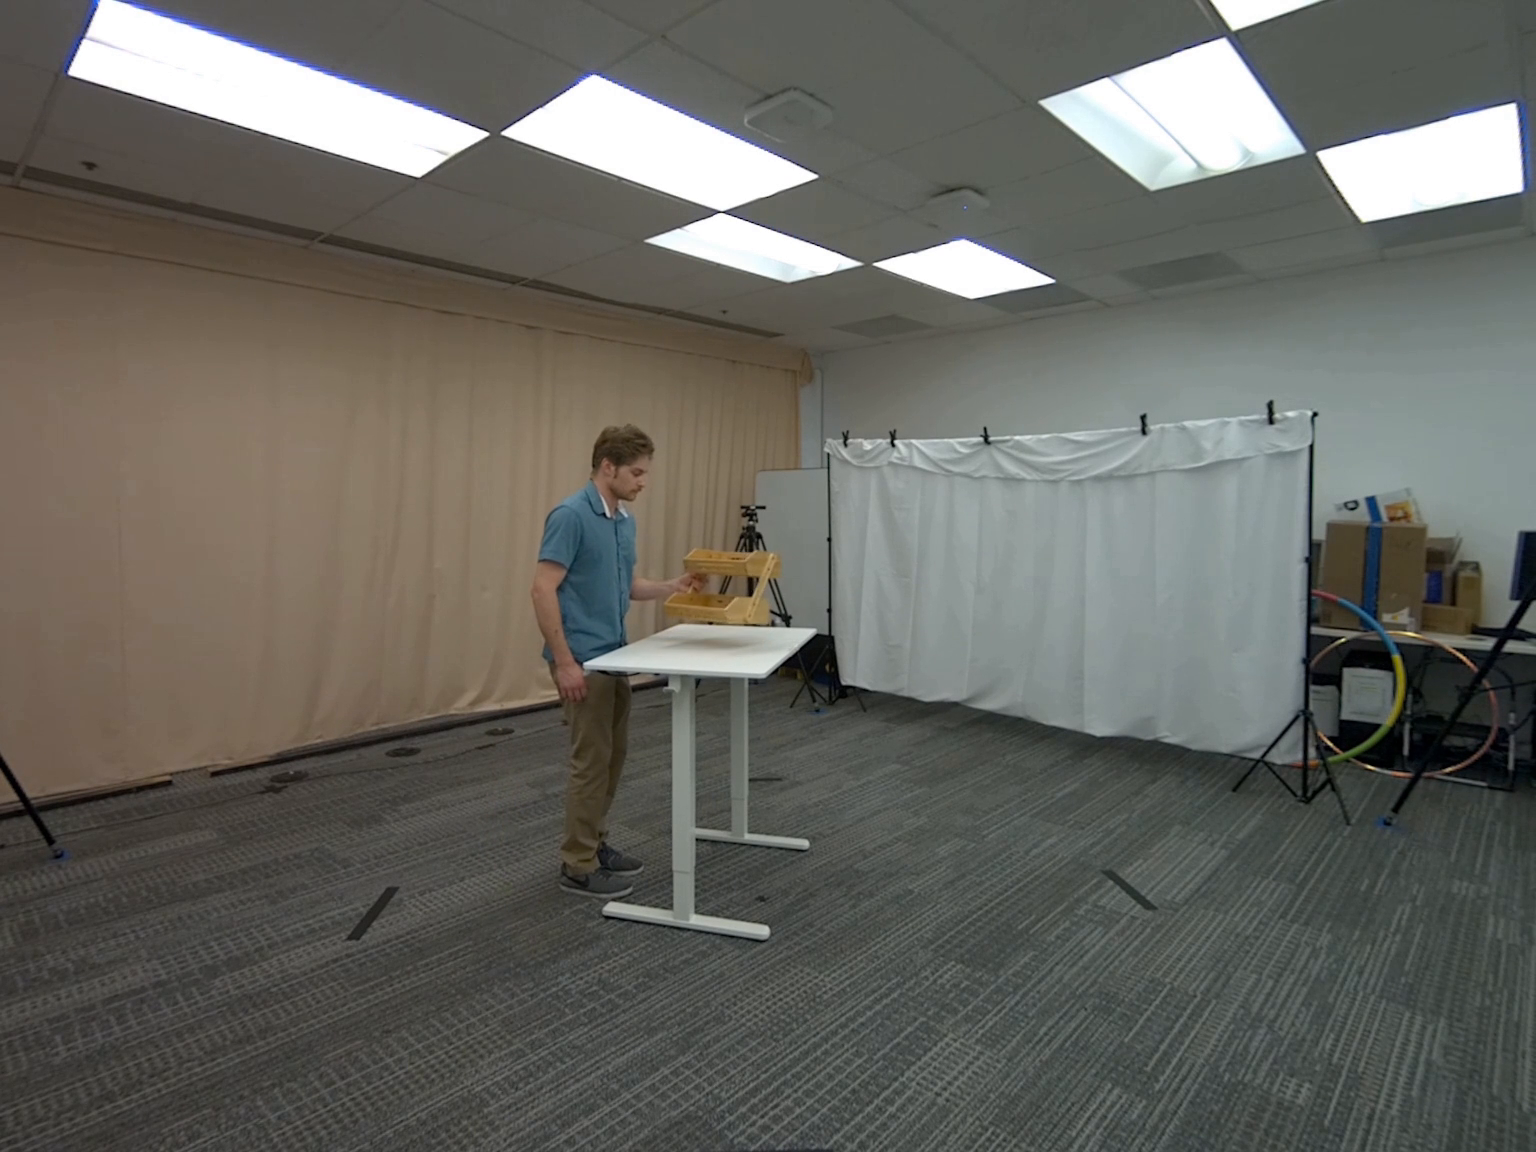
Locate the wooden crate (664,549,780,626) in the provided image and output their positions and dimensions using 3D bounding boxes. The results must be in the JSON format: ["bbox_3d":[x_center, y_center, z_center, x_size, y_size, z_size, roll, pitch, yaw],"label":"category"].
[{"bbox_3d":[-0.165,0.030,3.084,0.335,0.273,0.292,3,-2,40],"label":"wooden crate"}]
